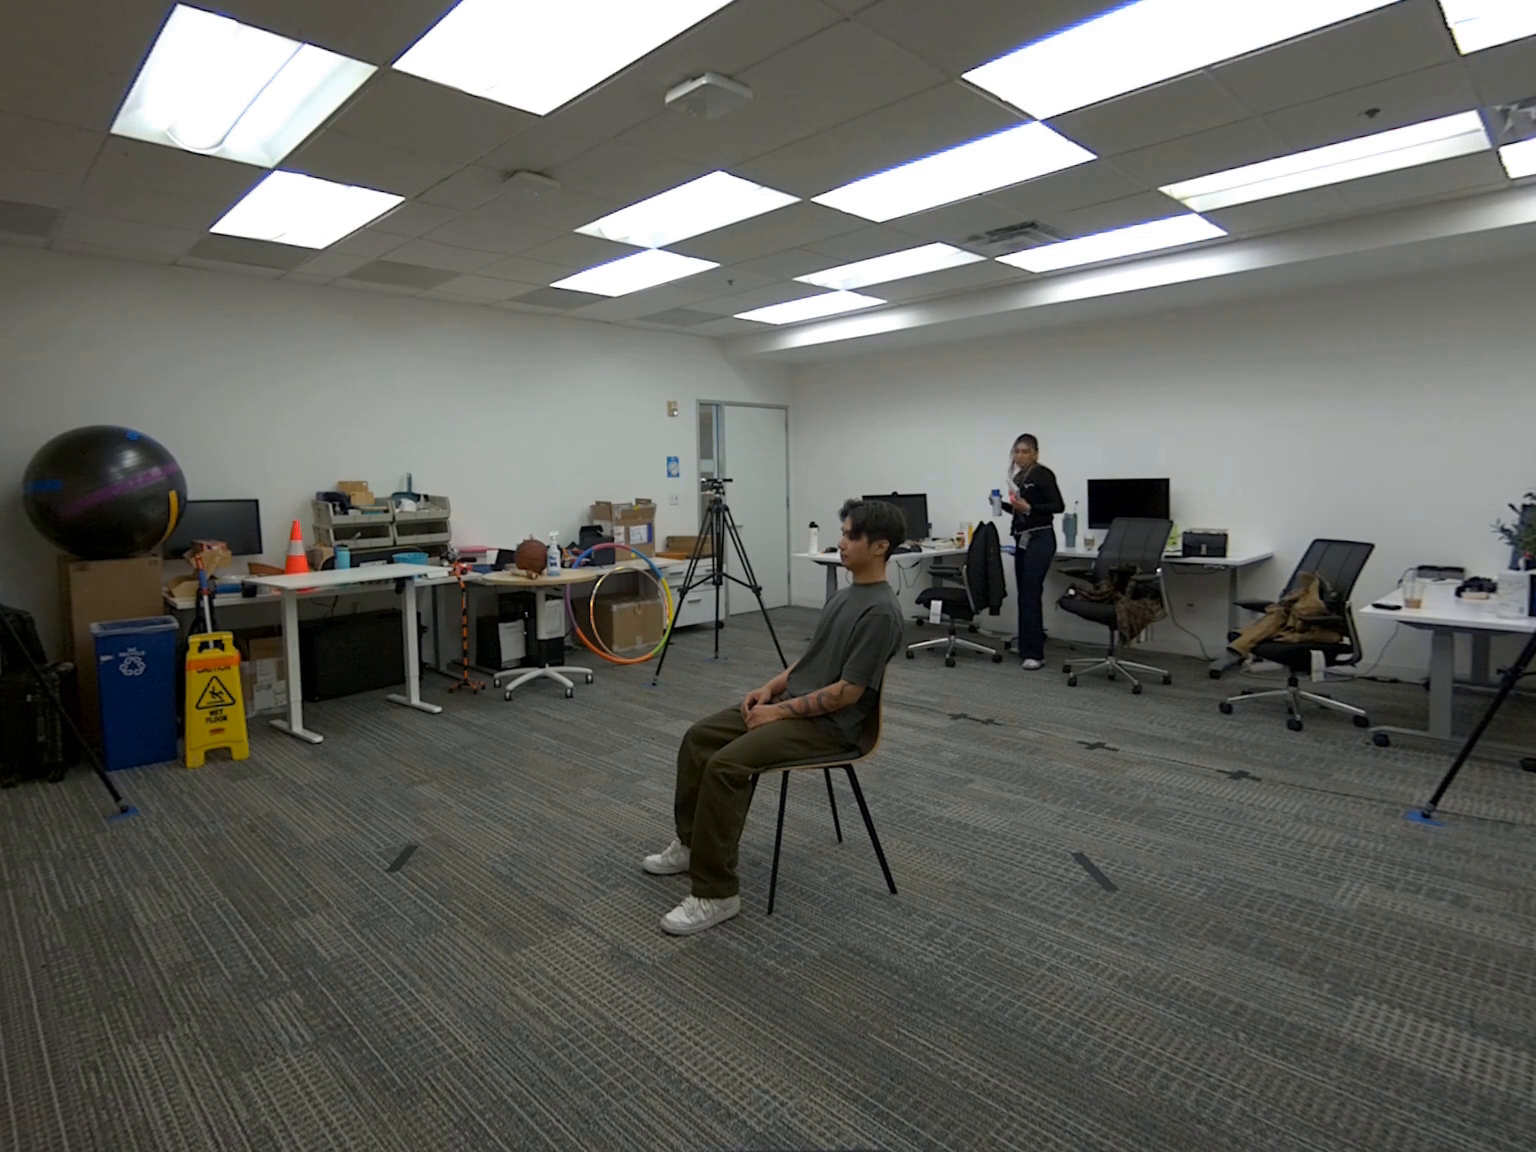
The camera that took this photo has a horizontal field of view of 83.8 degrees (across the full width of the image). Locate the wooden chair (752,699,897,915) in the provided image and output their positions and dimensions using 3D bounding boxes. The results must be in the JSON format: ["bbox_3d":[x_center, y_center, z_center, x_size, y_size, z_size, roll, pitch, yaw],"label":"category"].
[{"bbox_3d":[0.136,0.622,2.980,0.514,0.875,0.488,2,4,-18],"label":"wooden chair"}]
